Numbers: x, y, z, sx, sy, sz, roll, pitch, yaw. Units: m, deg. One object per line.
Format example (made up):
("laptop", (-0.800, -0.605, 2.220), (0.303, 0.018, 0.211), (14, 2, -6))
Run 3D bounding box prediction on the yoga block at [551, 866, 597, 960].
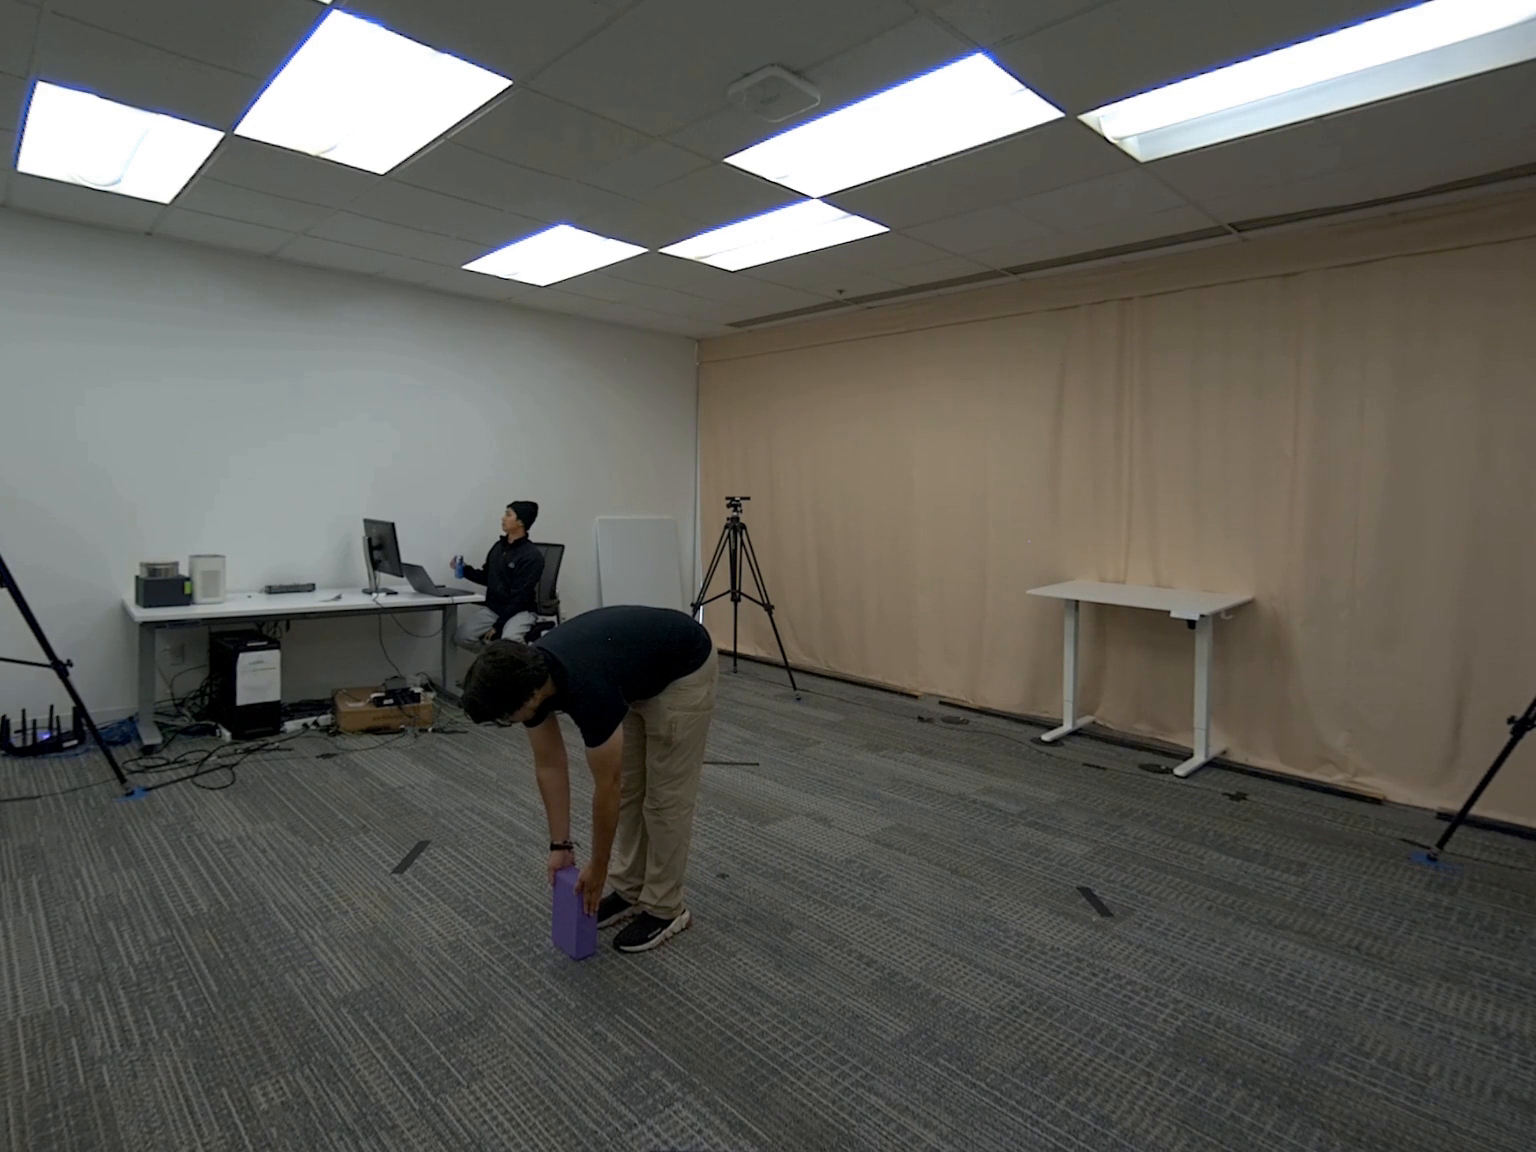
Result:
("yoga block", (-0.597, 1.034, 2.575), (0.075, 0.228, 0.153), (-3, 6, -41))
